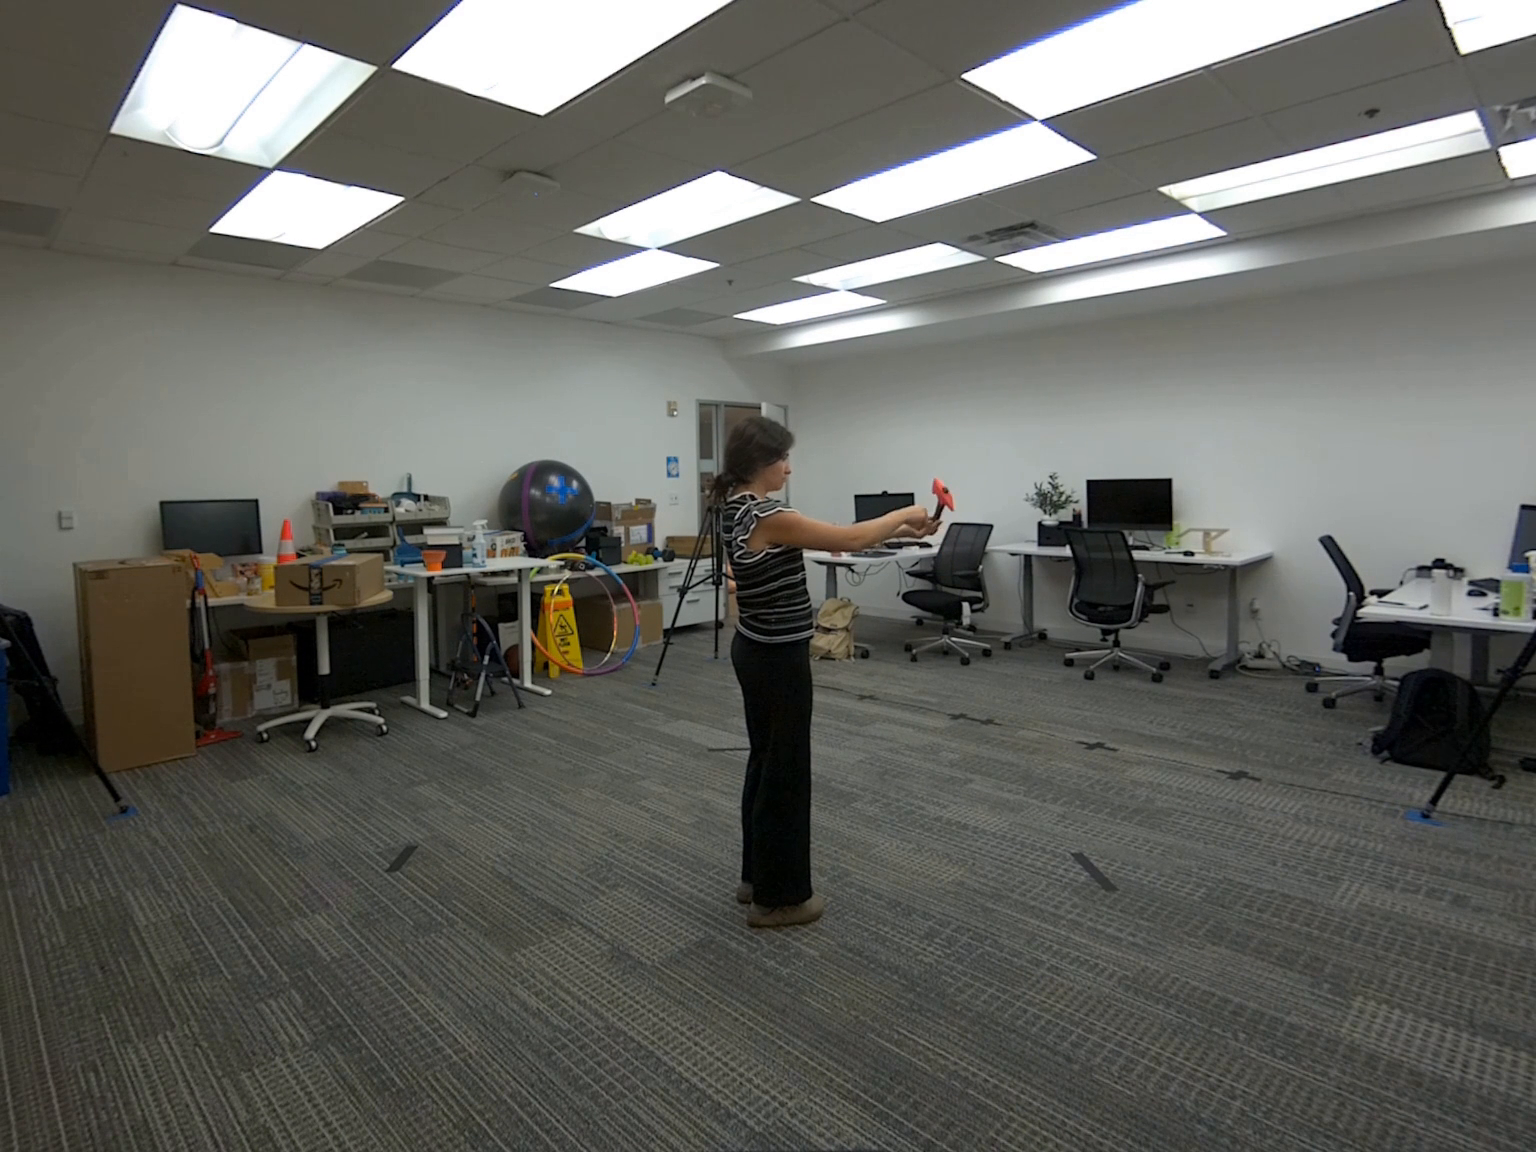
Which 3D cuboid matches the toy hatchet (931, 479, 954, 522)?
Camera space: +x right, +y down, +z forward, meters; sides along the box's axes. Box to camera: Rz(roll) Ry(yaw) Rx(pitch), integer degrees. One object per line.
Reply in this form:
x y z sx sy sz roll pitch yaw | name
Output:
0.538 -0.229 2.776 0.029 0.132 0.269 -17 -8 -12 | toy hatchet
